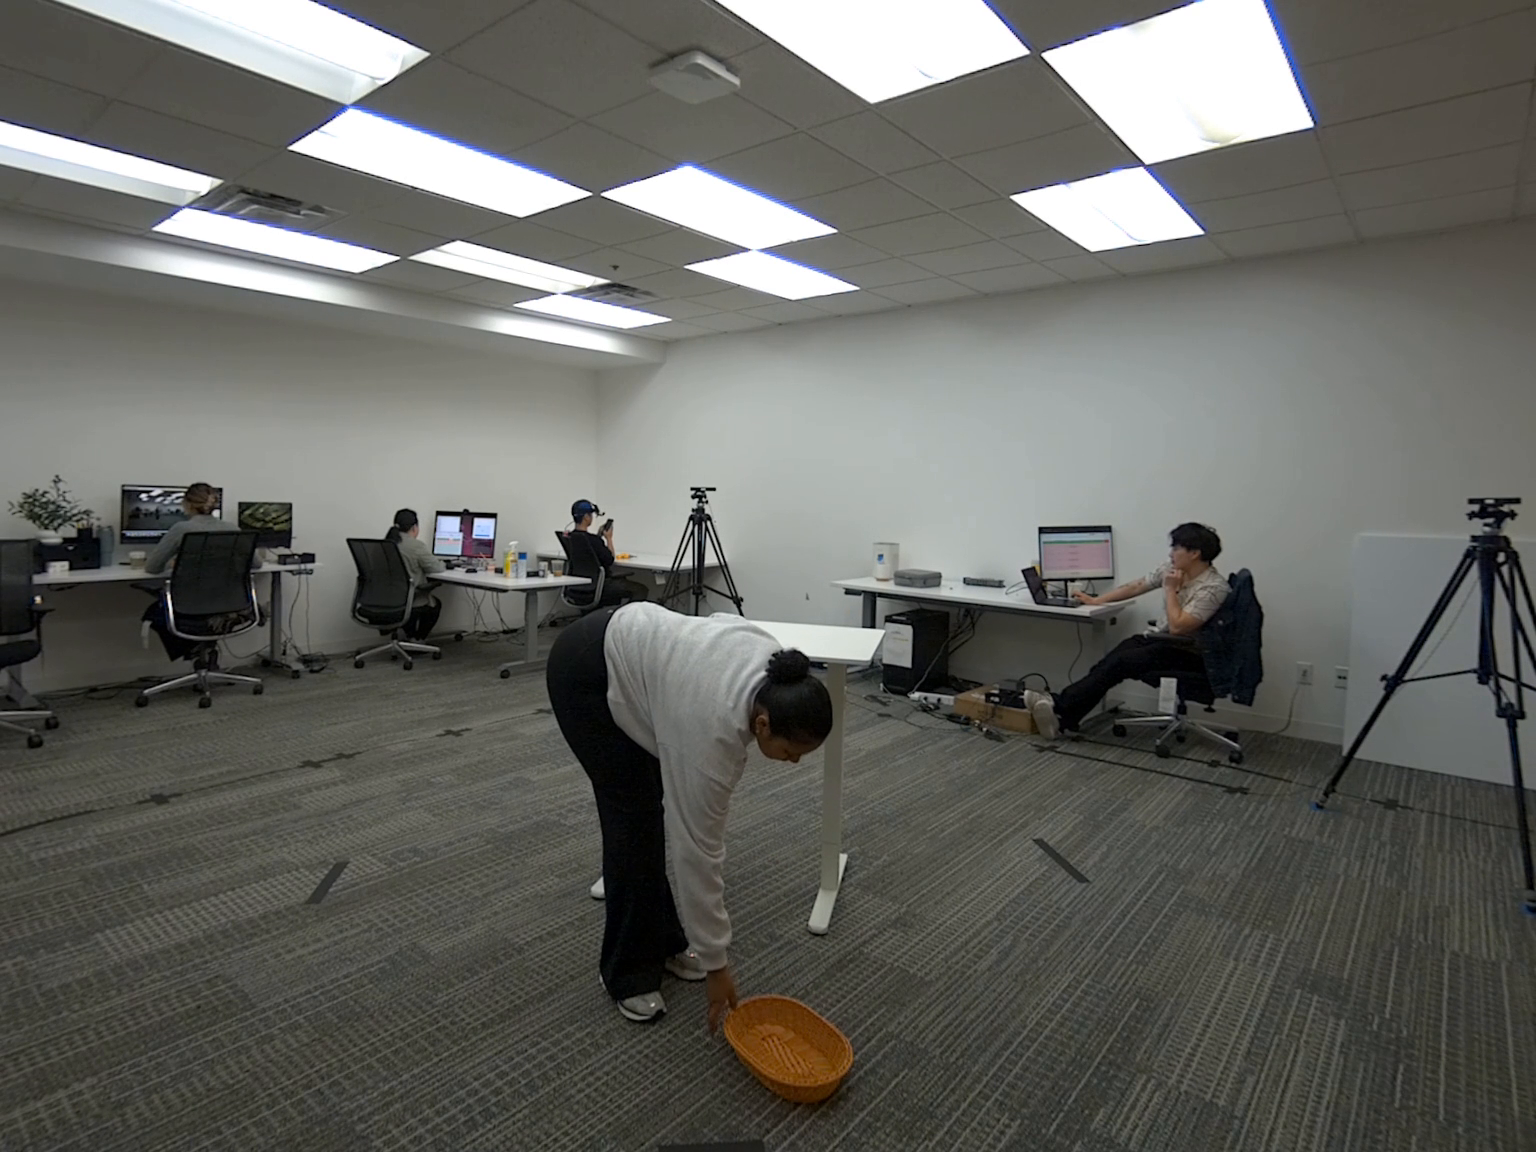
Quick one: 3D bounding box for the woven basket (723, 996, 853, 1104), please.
[{"bbox_3d":[0.039,1.135,2.059,0.246,0.073,0.361,-3,7,-31],"label":"woven basket"}]
